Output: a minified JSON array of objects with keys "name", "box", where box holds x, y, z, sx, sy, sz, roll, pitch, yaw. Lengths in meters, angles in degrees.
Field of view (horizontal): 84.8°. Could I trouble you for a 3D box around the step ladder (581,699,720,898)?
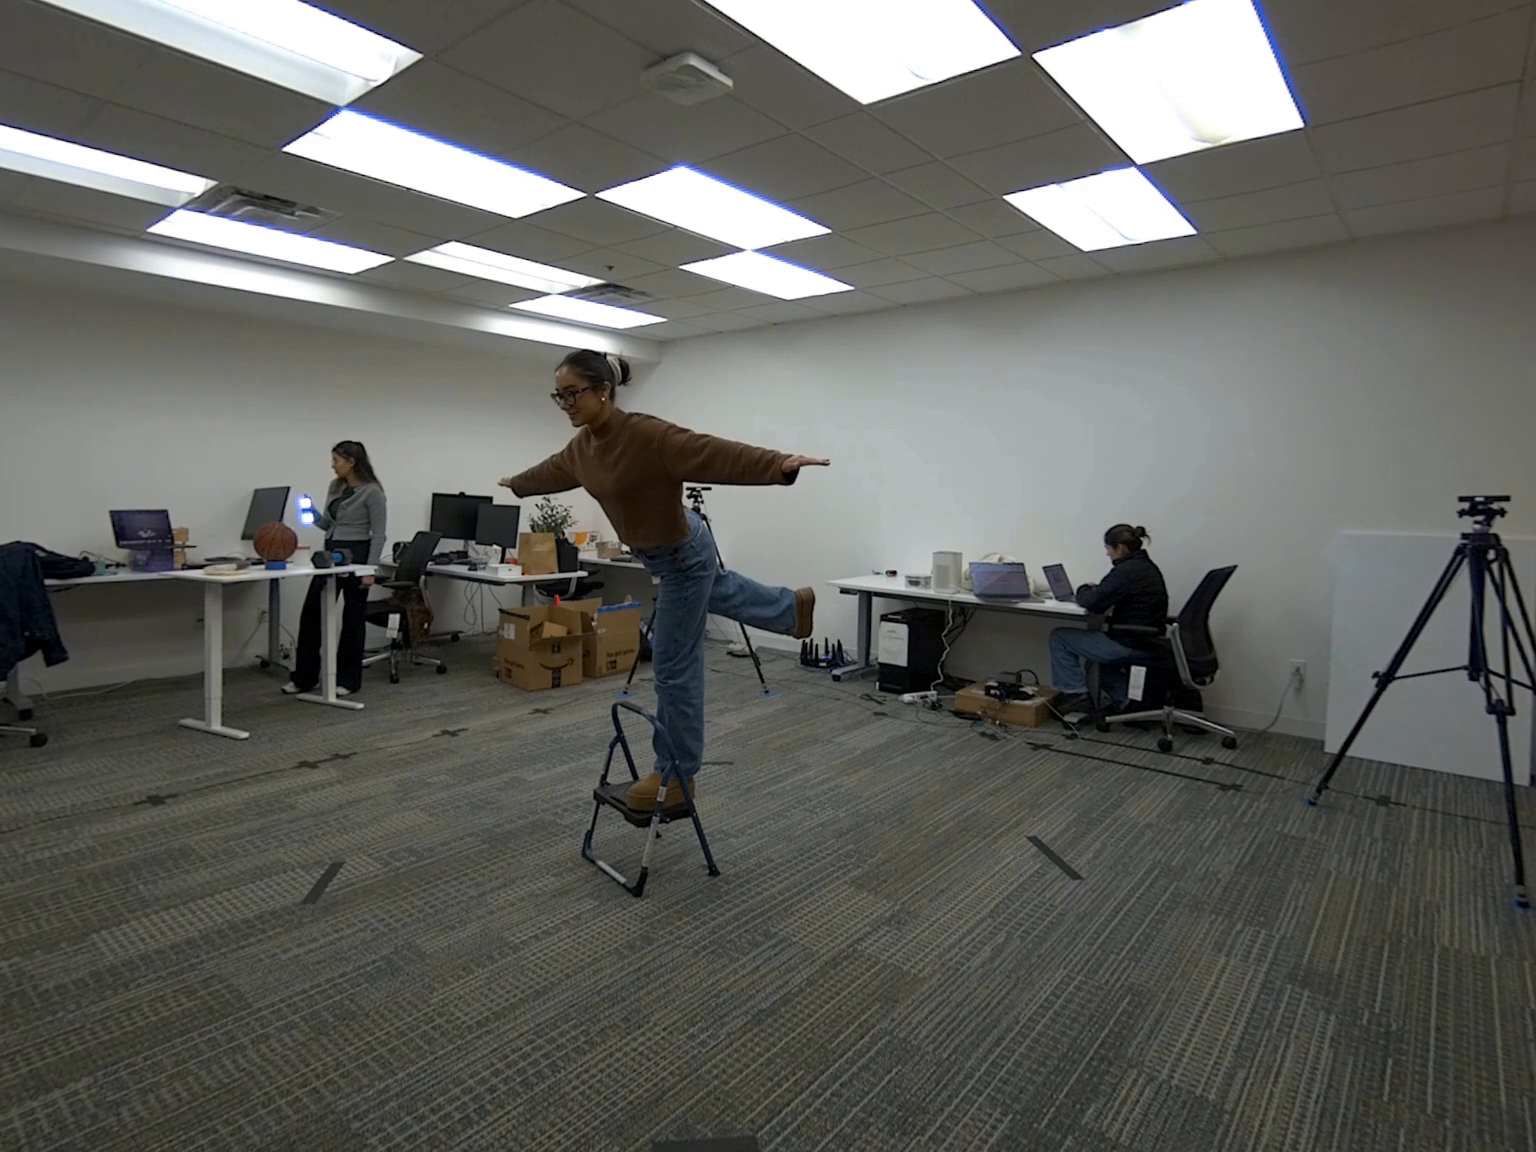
[{"name":"step ladder","box":[-0.447,0.759,3.116,0.339,0.604,0.445,-2,5,-39]}]
